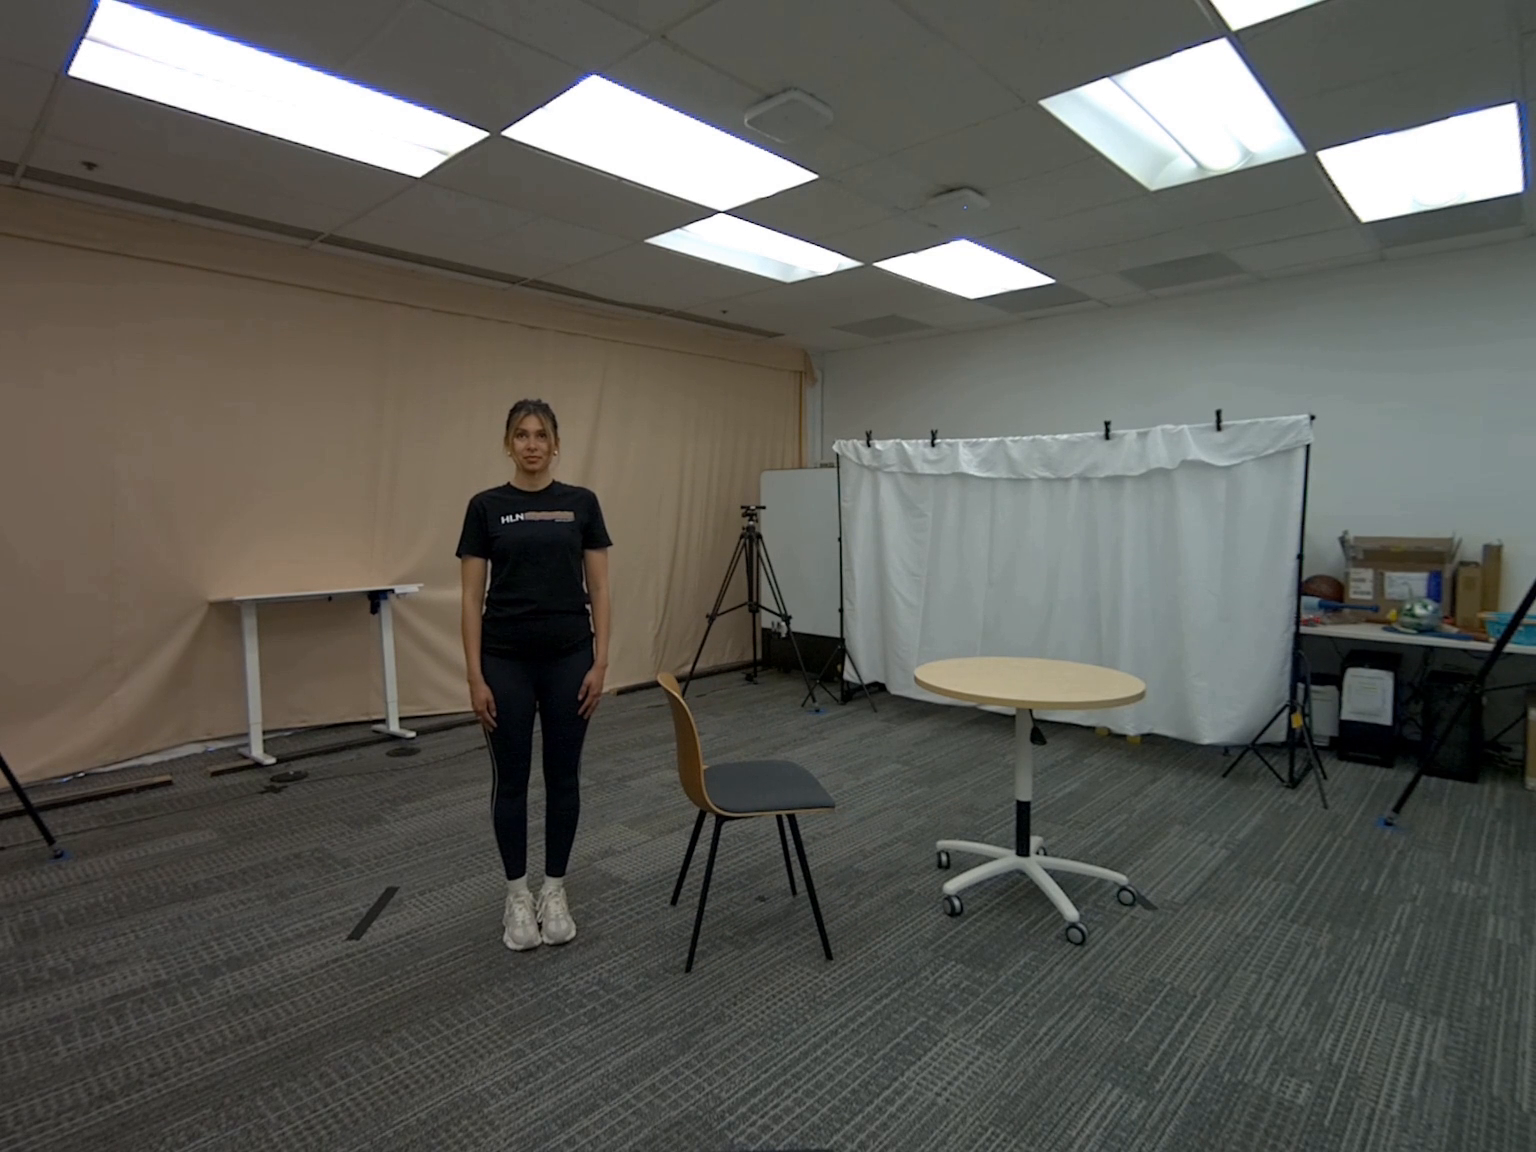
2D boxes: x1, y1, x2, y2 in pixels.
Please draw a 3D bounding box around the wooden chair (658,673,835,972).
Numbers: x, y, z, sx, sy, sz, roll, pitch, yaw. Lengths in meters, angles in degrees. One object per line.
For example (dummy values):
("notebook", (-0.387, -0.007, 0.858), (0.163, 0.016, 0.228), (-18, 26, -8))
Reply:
("wooden chair", (-0.060, 0.741, 2.734), (0.518, 0.875, 0.484), (-5, 3, -11))
